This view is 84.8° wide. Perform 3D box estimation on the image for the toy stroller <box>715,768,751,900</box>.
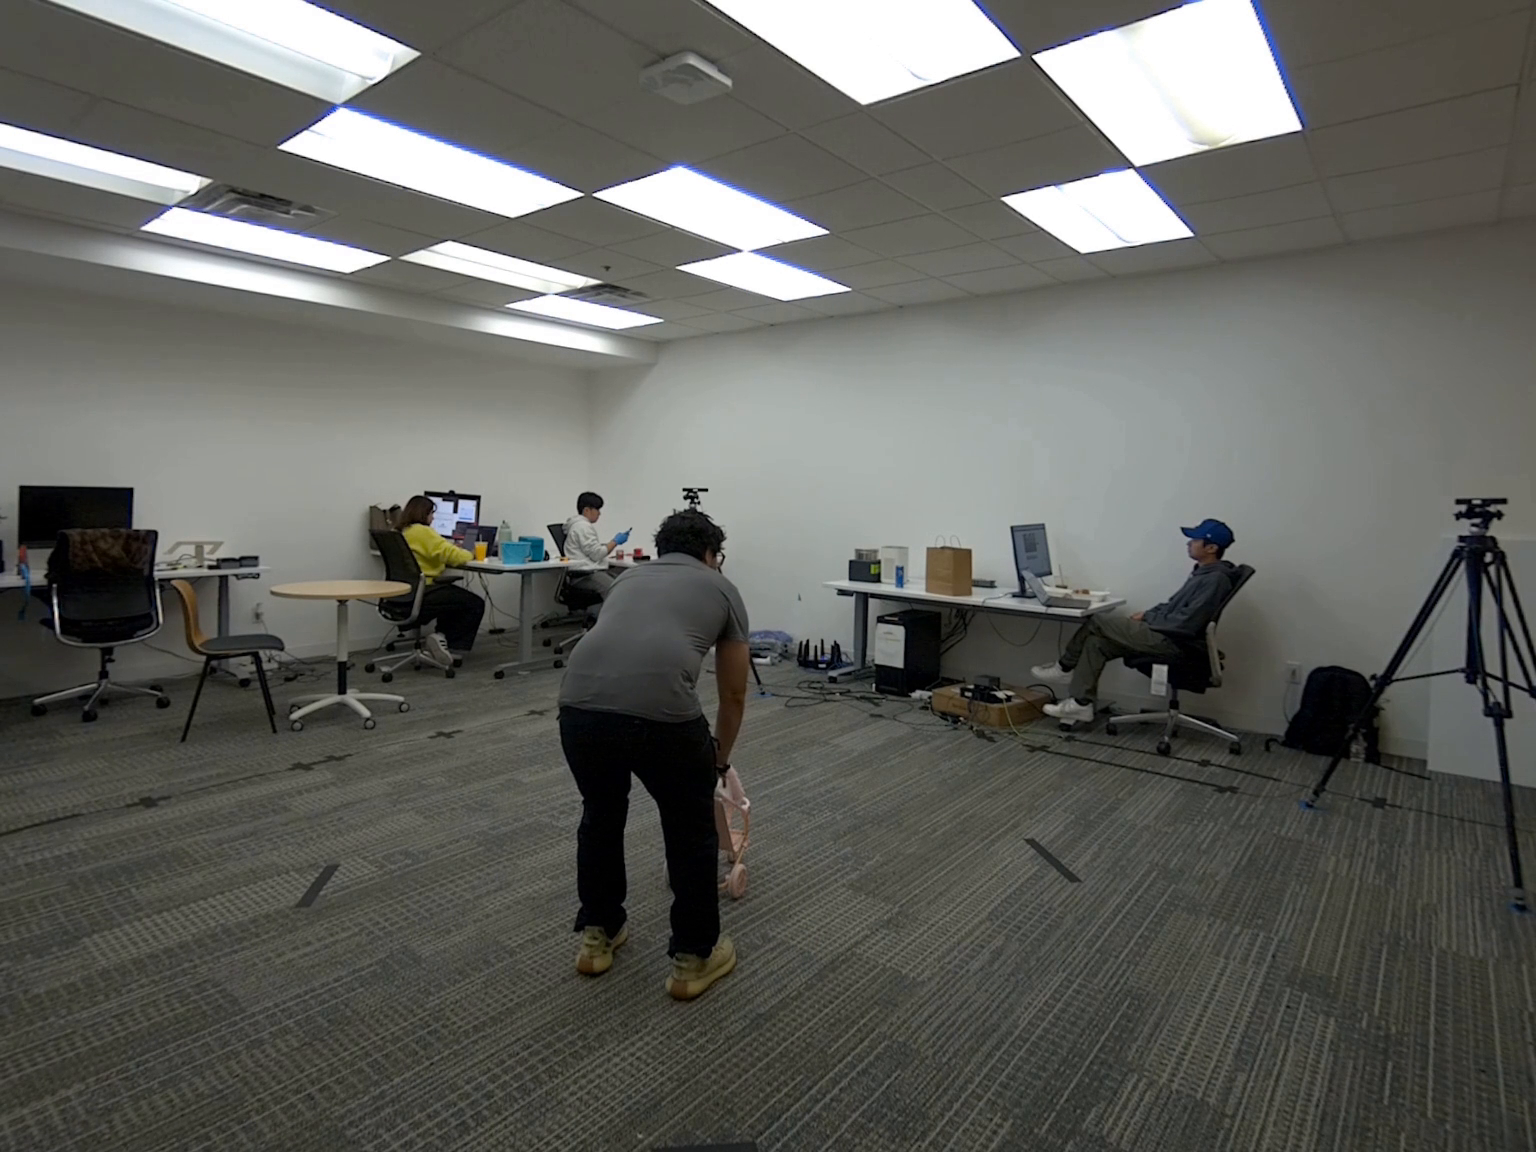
[{"bbox_3d":[-0.196,0.859,2.996,0.289,0.525,0.339,3,20,25],"label":"toy stroller"}]
